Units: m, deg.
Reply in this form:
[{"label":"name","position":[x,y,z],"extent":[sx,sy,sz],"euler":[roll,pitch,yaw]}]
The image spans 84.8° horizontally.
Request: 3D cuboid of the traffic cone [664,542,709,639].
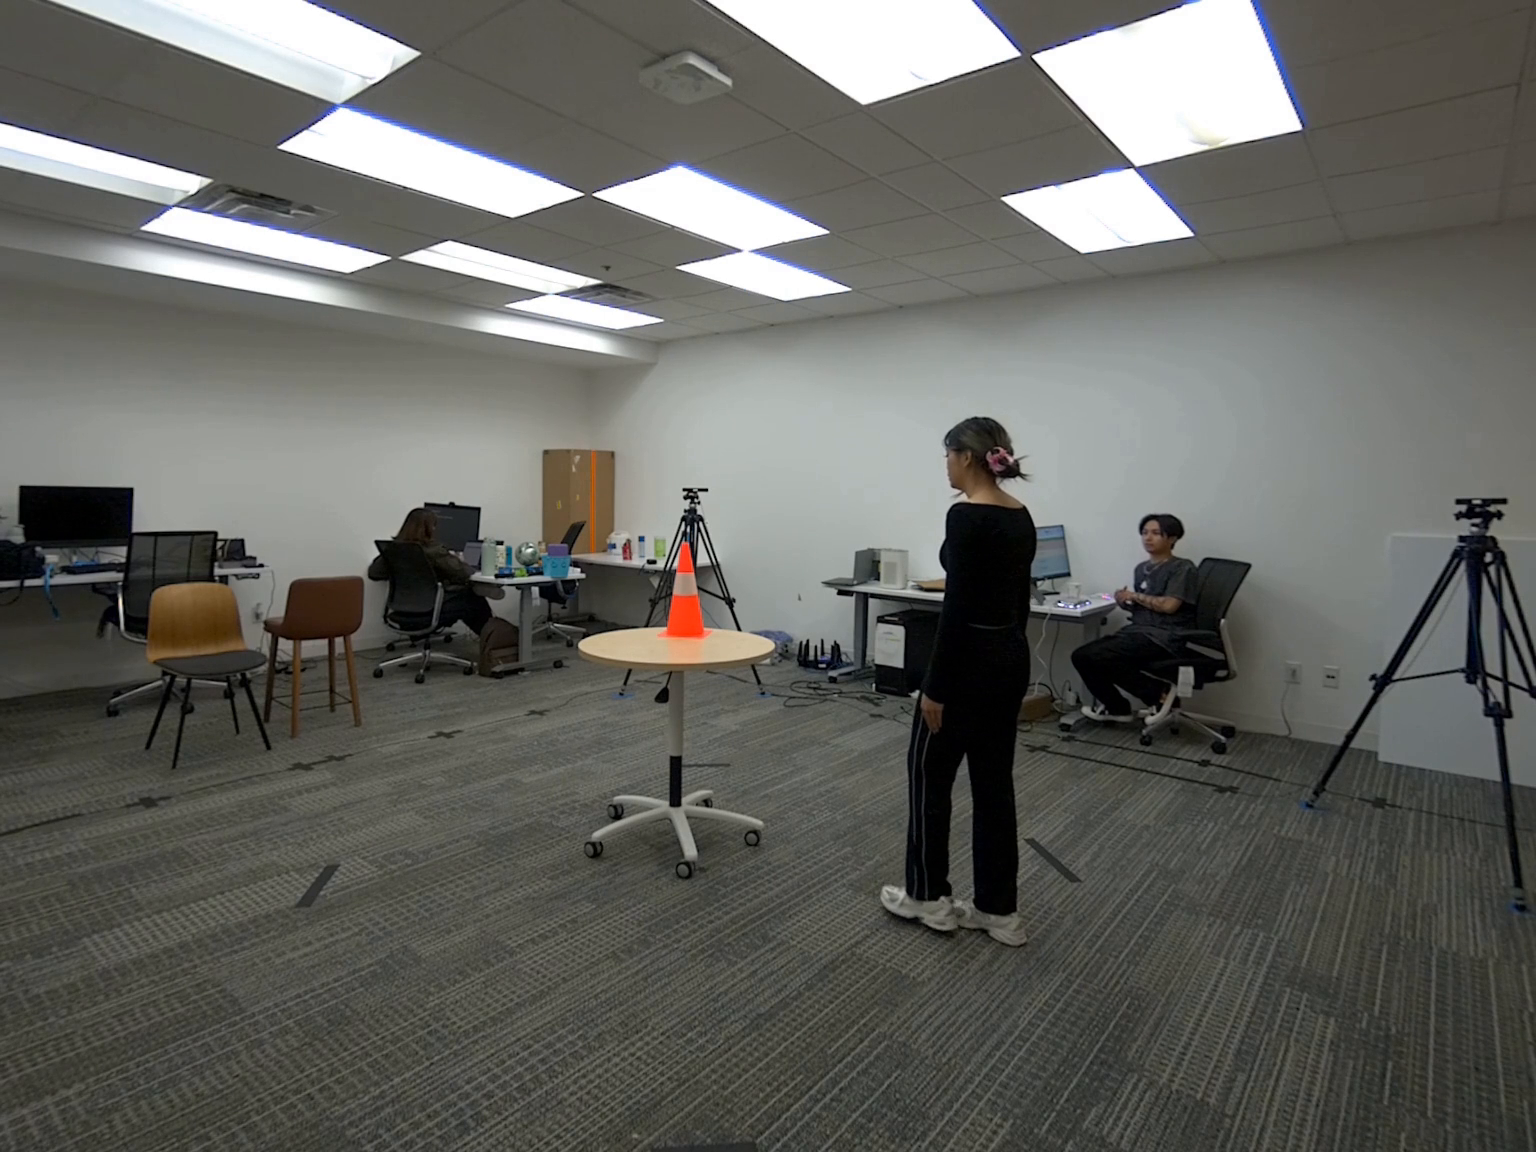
[{"label":"traffic cone","position":[-0.359,0.050,3.549],"extent":[0.204,0.383,0.205],"euler":[3,2,1]}]
